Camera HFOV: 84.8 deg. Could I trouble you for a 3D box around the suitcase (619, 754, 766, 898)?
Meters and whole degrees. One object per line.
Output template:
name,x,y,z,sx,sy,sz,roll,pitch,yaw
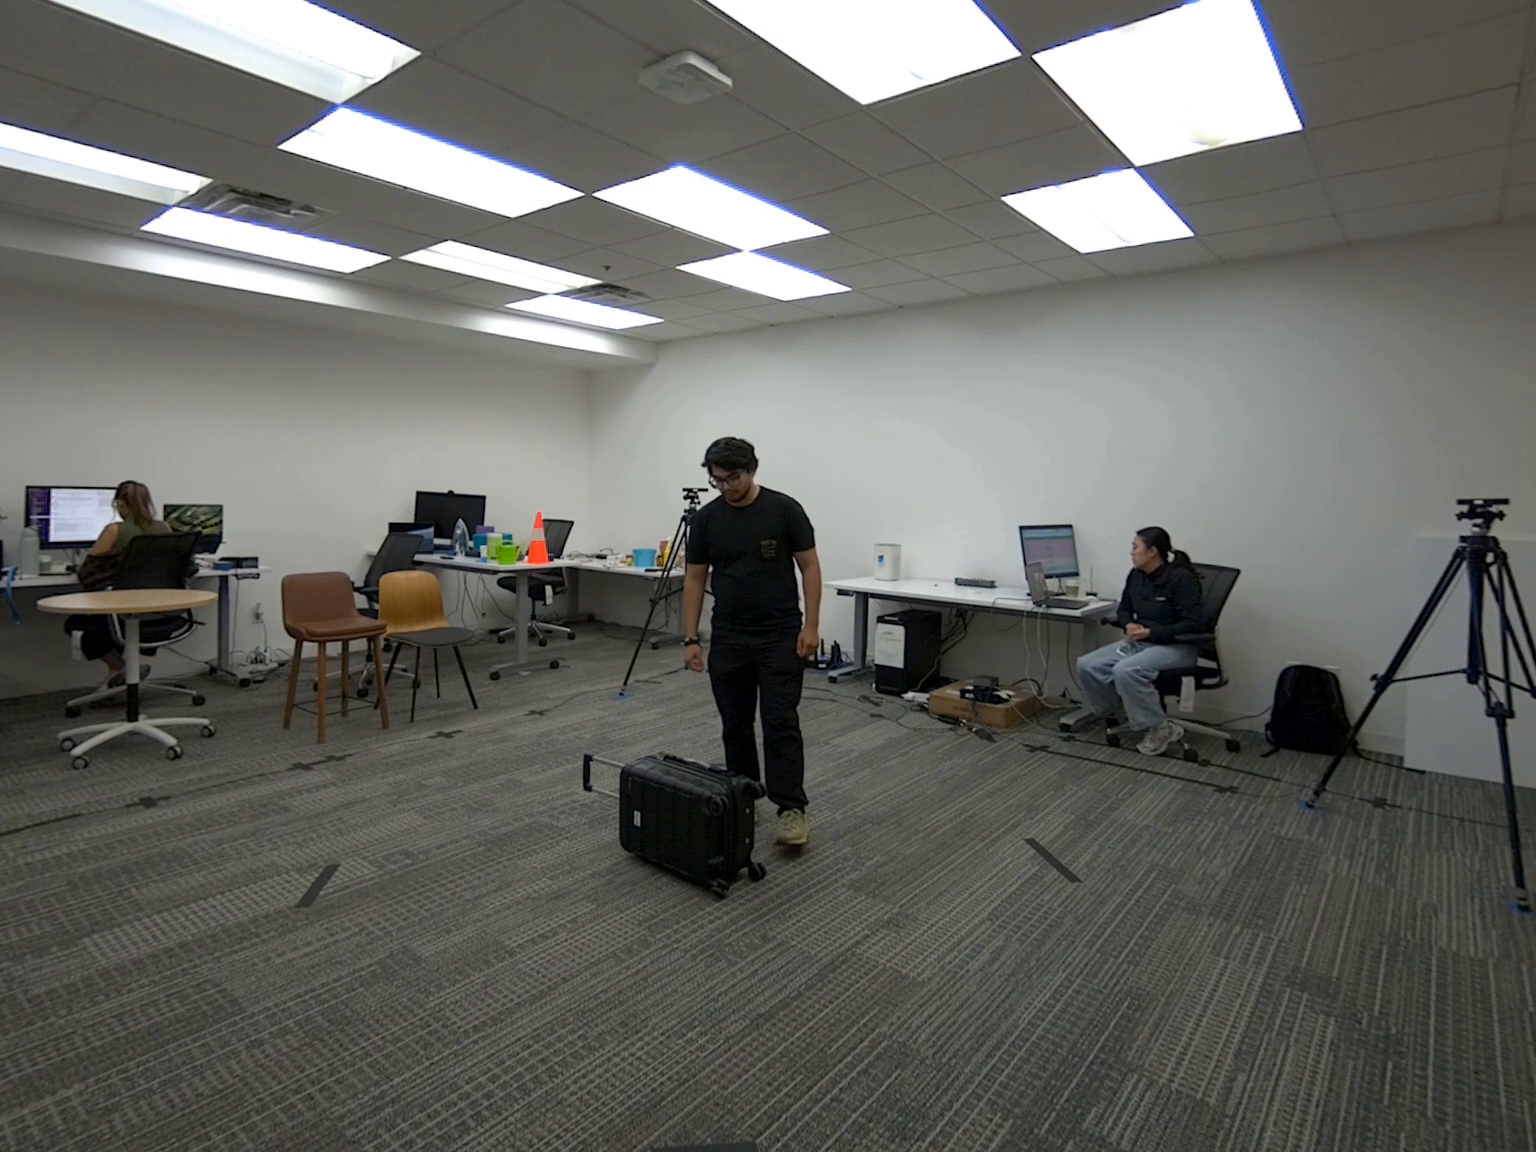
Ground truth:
suitcase,-0.475,0.864,3.249,1.011,0.383,0.249,5,5,39
